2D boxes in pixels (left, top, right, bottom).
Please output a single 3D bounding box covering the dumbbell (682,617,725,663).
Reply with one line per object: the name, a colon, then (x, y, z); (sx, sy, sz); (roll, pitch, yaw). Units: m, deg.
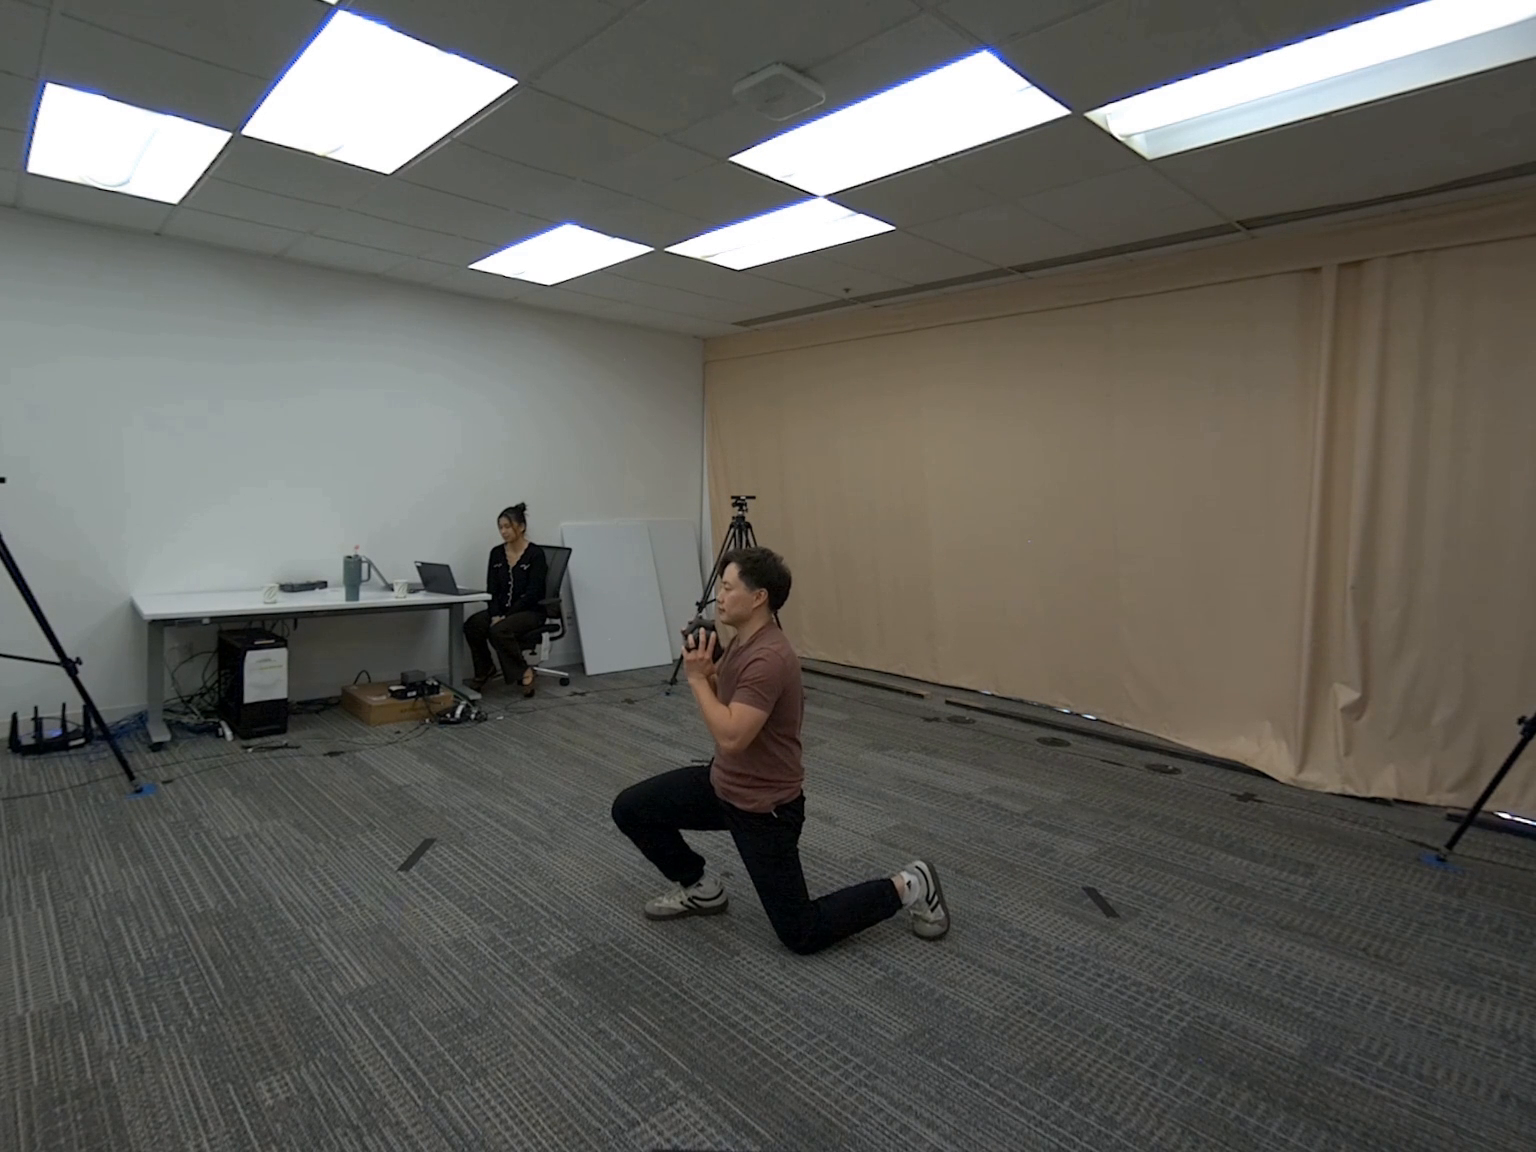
dumbbell: (-0.195, 0.214, 2.730); (0.122, 0.109, 0.295); (21, -2, -8)
